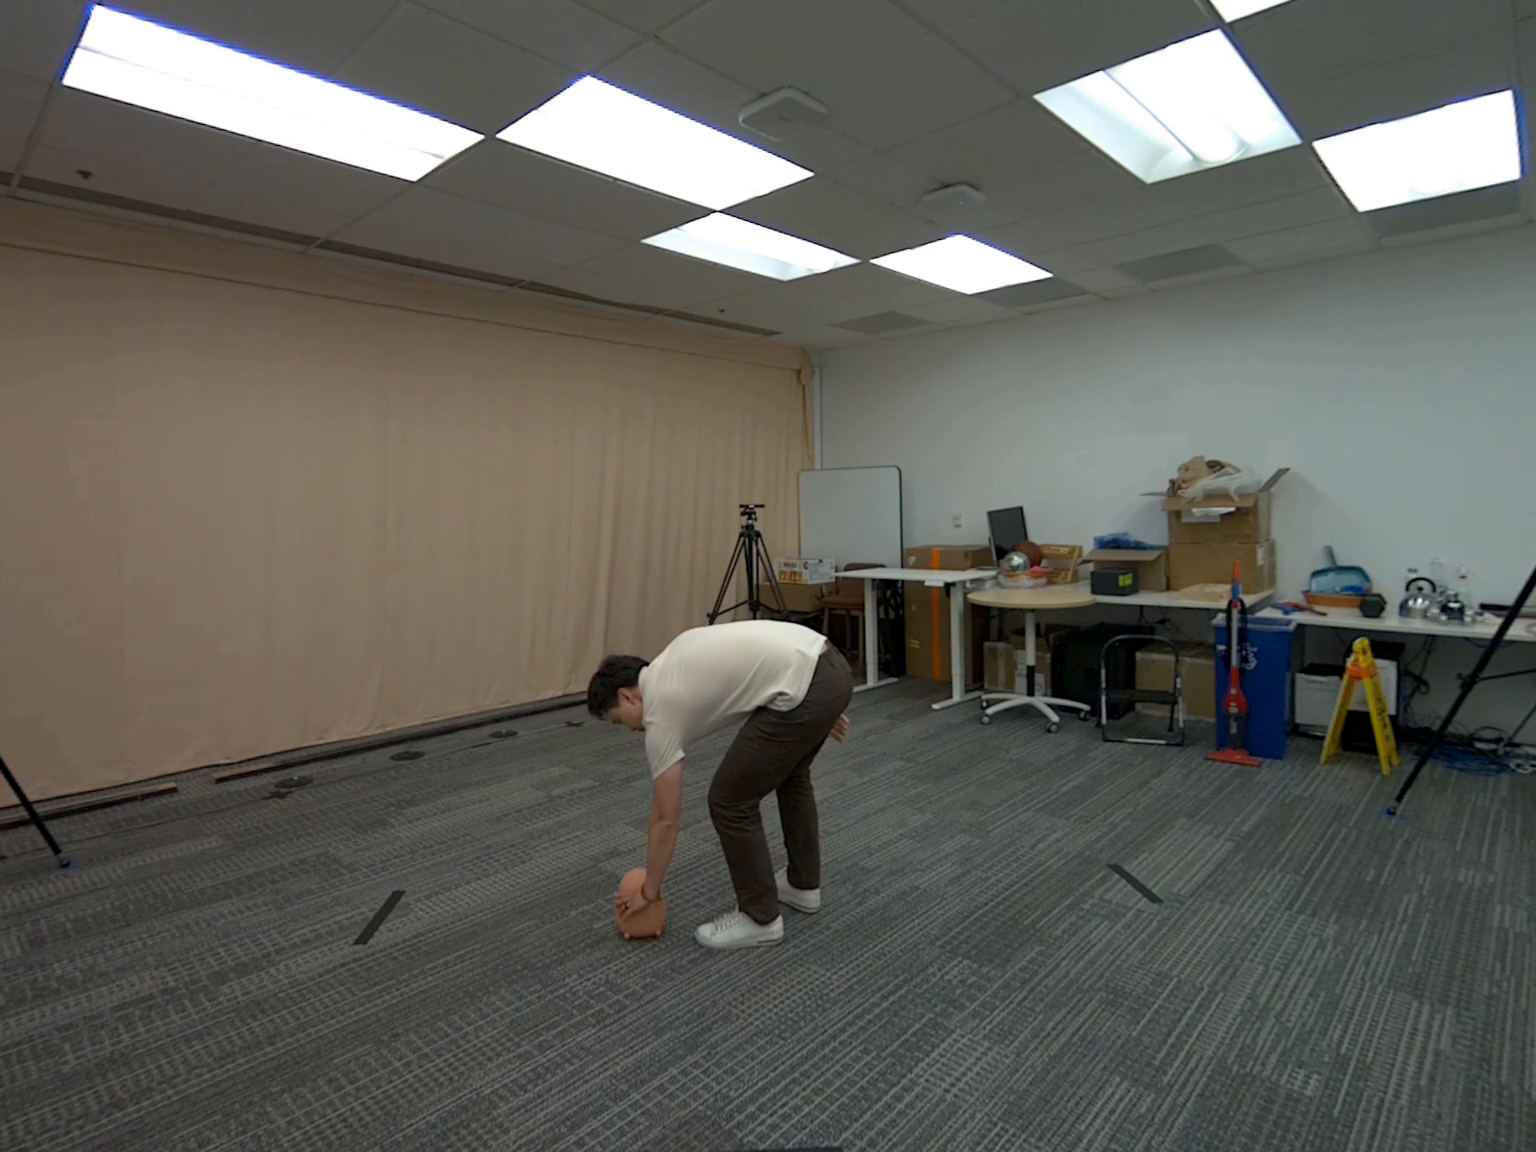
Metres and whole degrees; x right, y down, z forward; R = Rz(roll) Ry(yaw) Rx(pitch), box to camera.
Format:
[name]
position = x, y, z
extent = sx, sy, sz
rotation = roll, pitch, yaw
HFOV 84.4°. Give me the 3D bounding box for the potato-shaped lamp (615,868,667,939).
[potato-shaped lamp]
position = -0.419, 1.064, 2.762
extent = 0.162, 0.198, 0.174
rotation = -1, 2, -14
